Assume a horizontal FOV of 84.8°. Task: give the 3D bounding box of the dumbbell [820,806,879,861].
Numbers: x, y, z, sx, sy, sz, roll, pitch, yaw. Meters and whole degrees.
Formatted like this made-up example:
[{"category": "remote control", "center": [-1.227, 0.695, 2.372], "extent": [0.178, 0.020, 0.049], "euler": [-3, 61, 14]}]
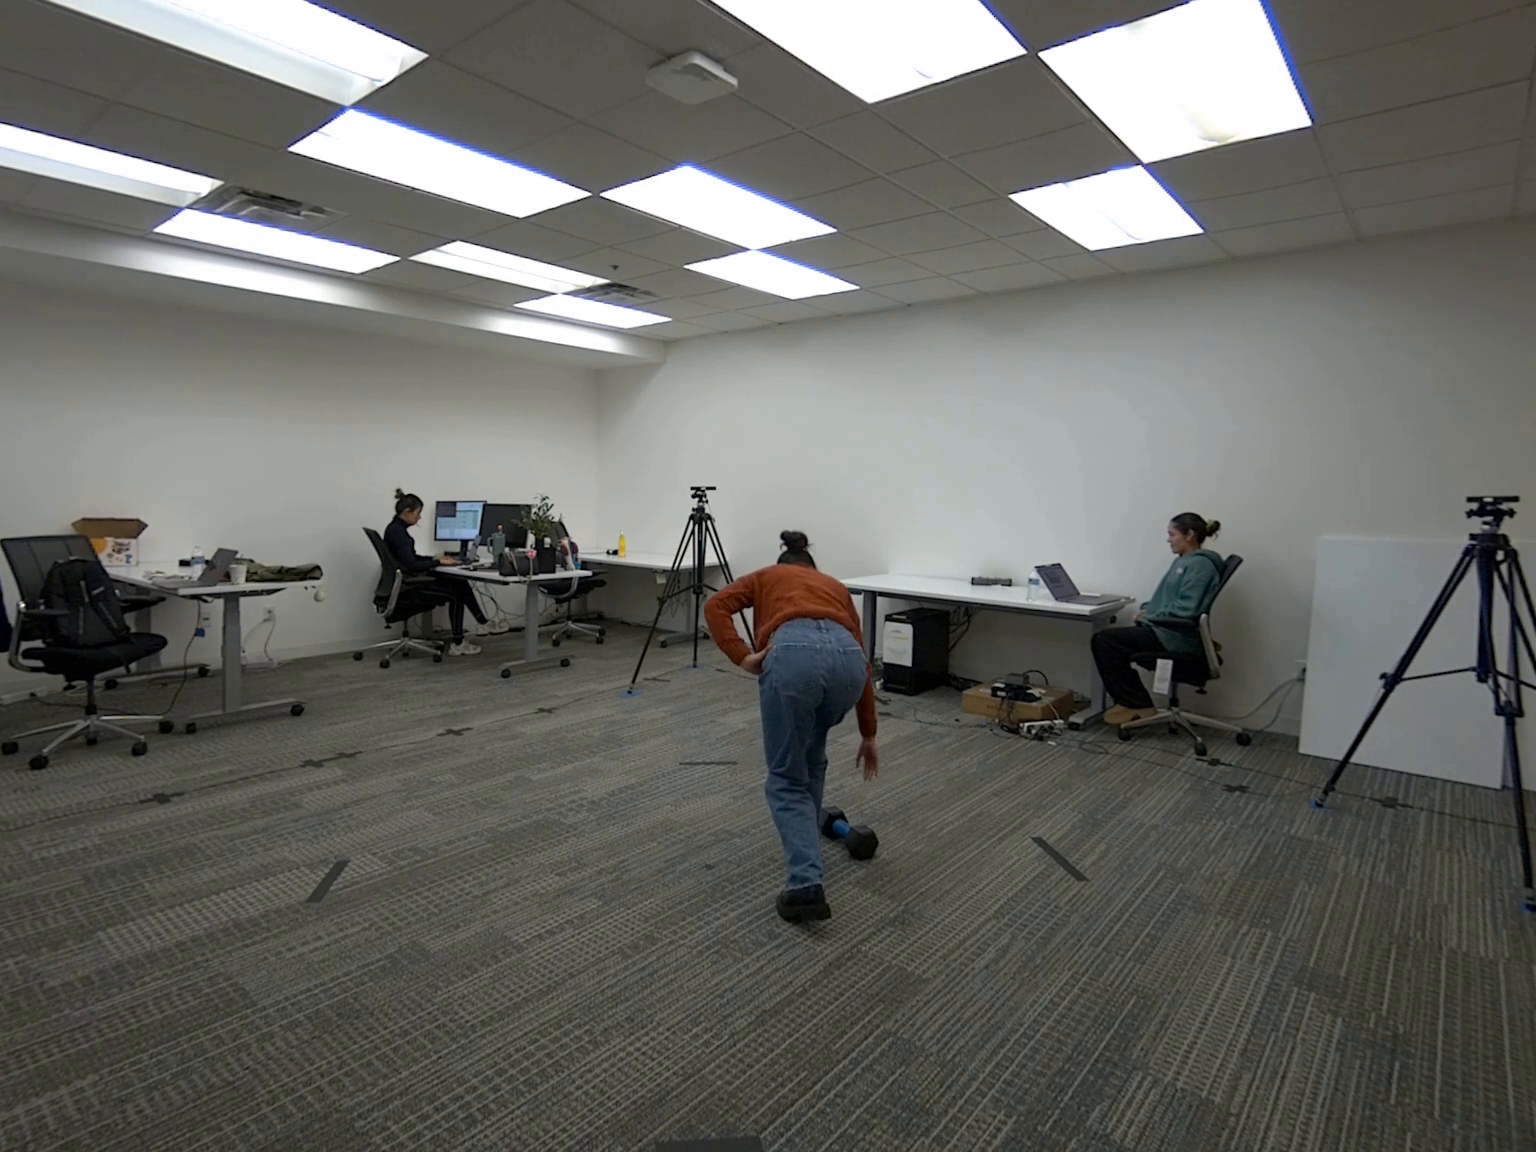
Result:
[{"category": "dumbbell", "center": [0.303, 1.001, 3.334], "extent": [0.108, 0.120, 0.301], "euler": [-33, 18, -19]}]
